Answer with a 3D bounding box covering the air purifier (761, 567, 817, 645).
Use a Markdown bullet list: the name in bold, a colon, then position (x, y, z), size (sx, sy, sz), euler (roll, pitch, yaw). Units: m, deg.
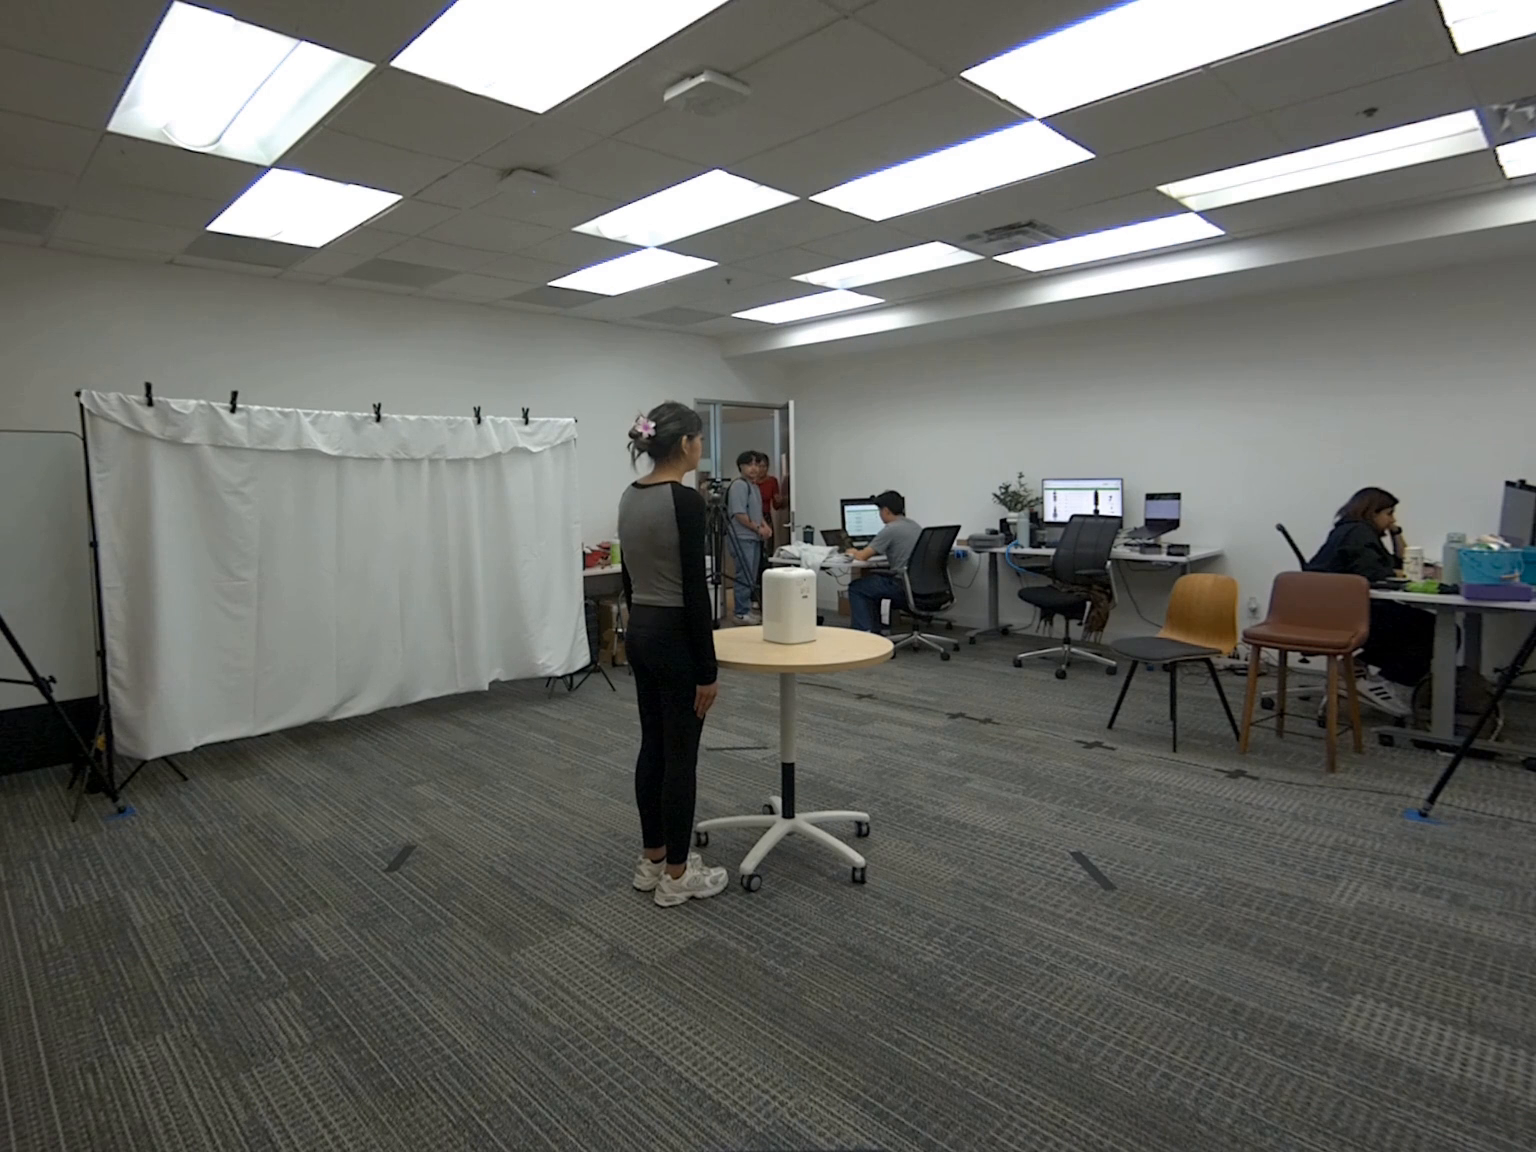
- **air purifier**: position (0.081, 0.105, 3.176), size (0.166, 0.264, 0.177), euler (-3, 5, -39)
